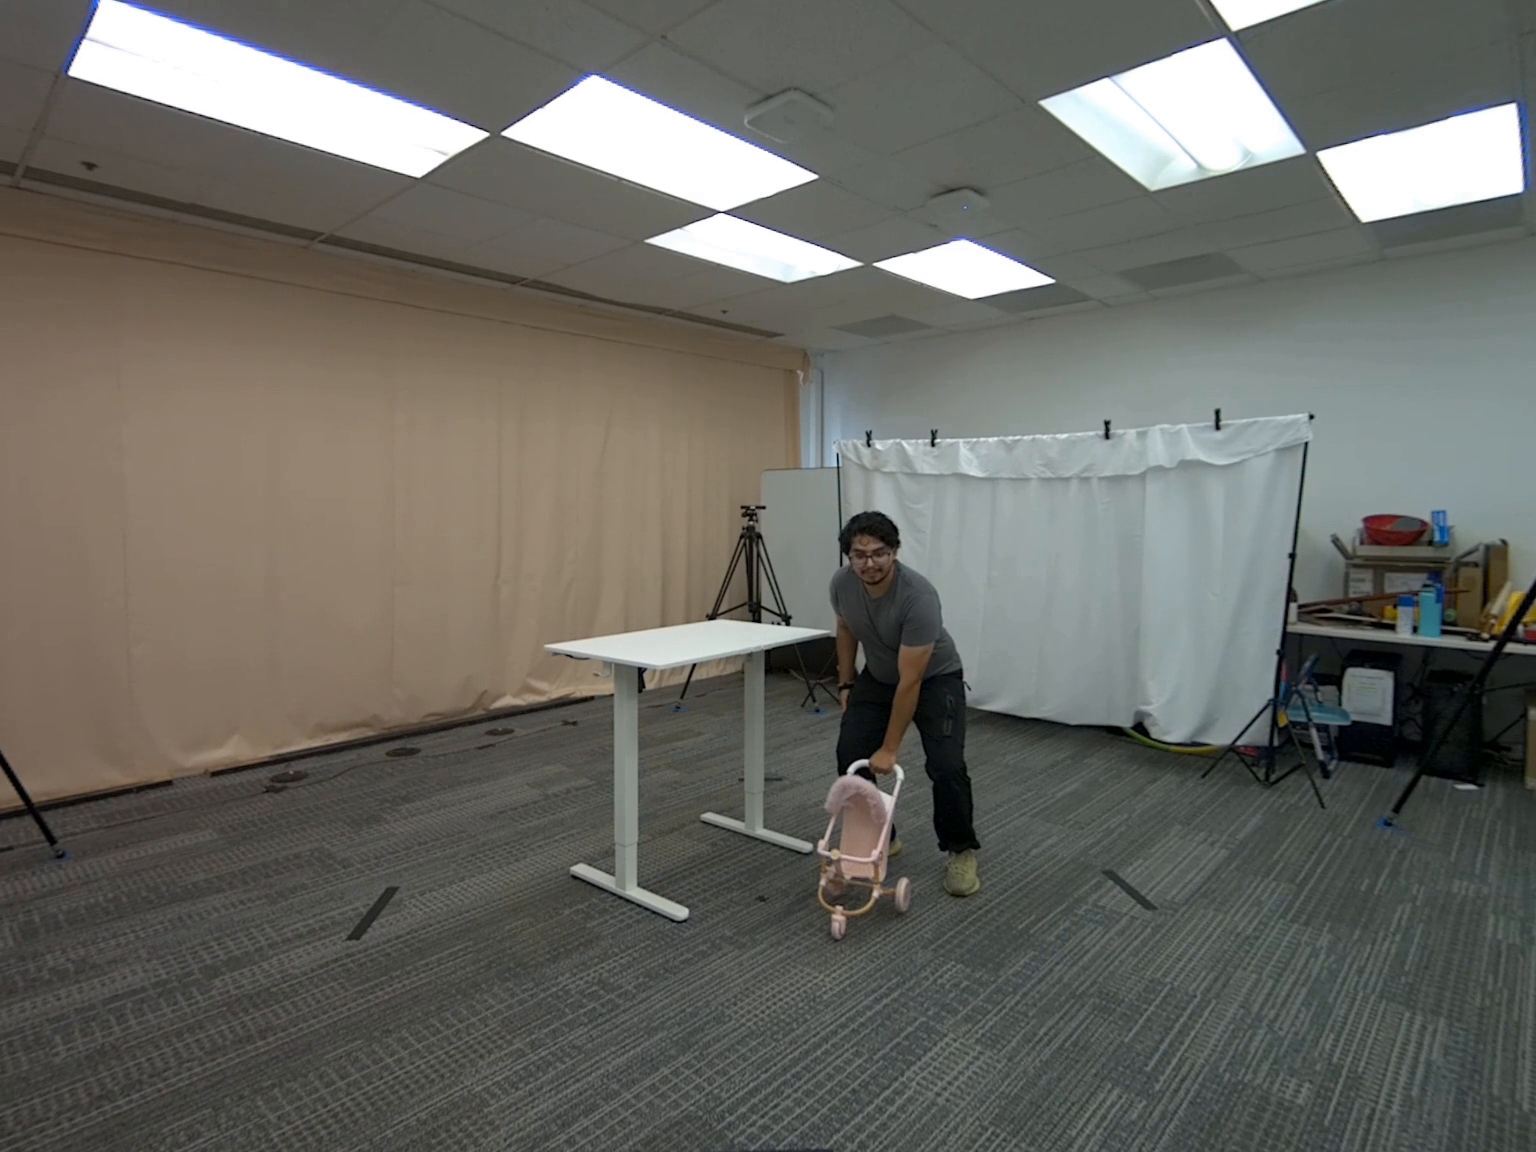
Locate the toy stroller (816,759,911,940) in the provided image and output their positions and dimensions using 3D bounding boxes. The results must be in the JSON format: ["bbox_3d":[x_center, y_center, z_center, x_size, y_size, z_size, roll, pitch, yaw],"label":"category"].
[{"bbox_3d":[0.306,0.913,2.843,0.290,0.537,0.330,0,-7,34],"label":"toy stroller"}]
